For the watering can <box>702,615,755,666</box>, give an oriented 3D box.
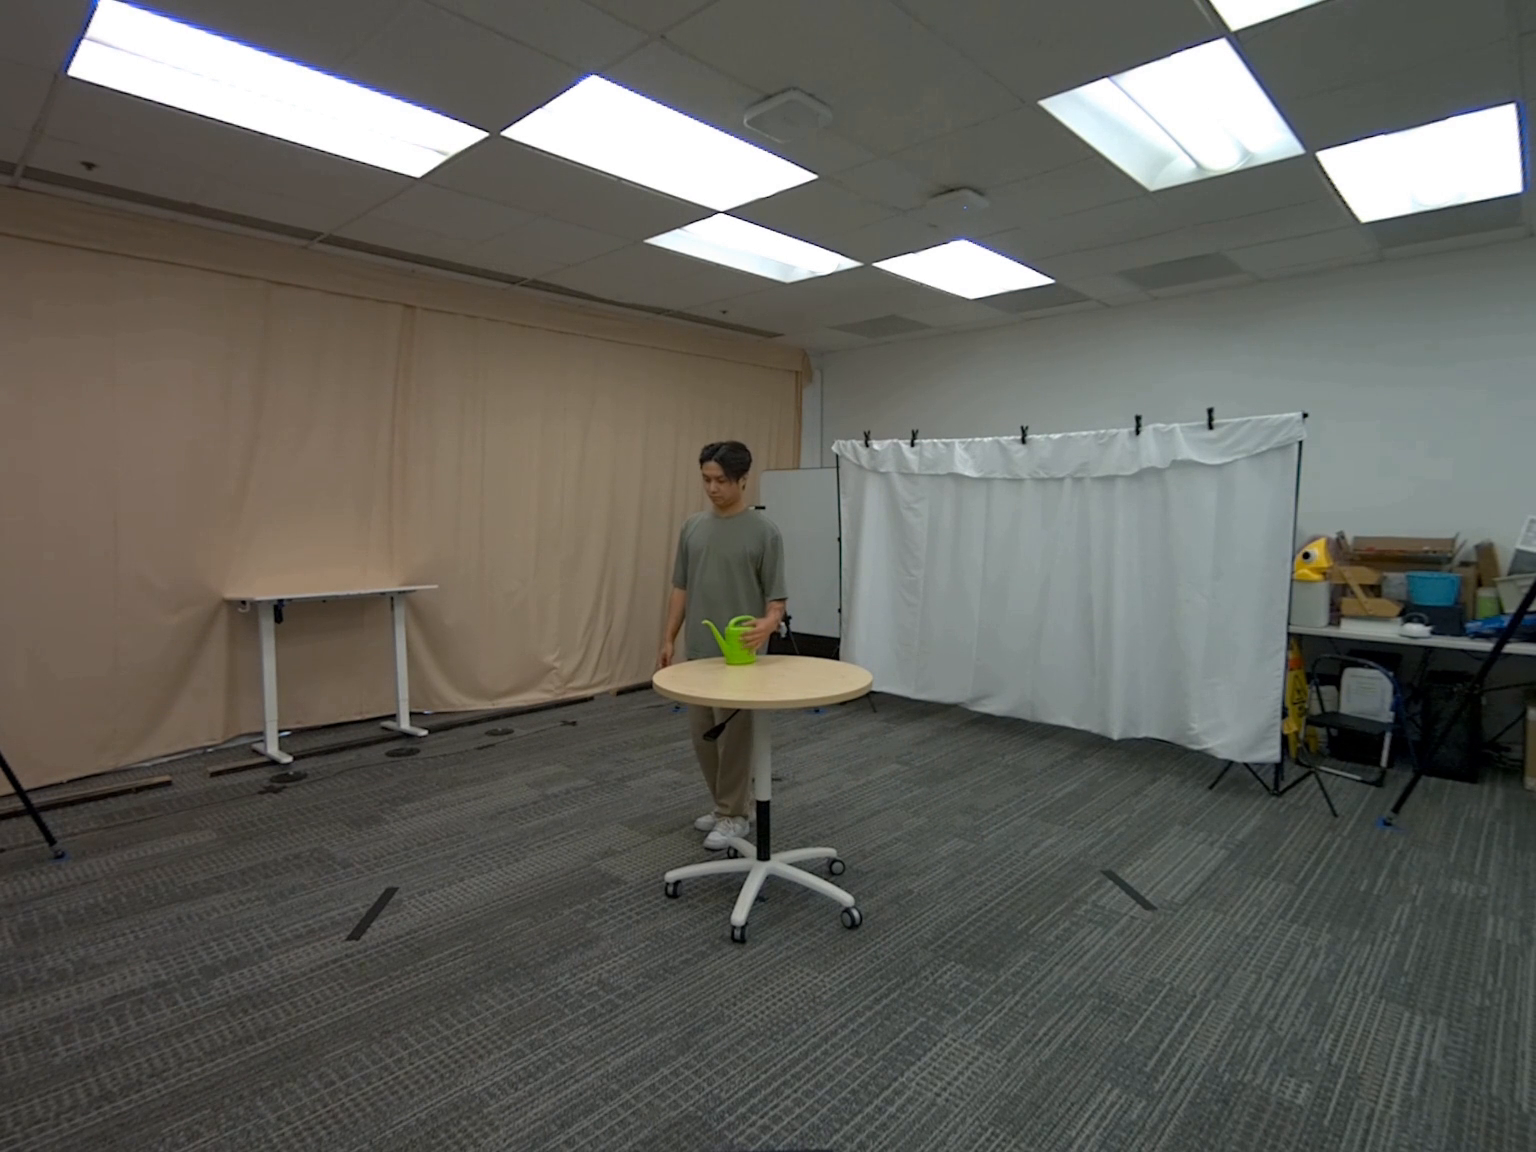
[{"bbox_3d":[-0.137,0.244,3.172,0.271,0.176,0.101,-1,3,-29],"label":"watering can"}]
